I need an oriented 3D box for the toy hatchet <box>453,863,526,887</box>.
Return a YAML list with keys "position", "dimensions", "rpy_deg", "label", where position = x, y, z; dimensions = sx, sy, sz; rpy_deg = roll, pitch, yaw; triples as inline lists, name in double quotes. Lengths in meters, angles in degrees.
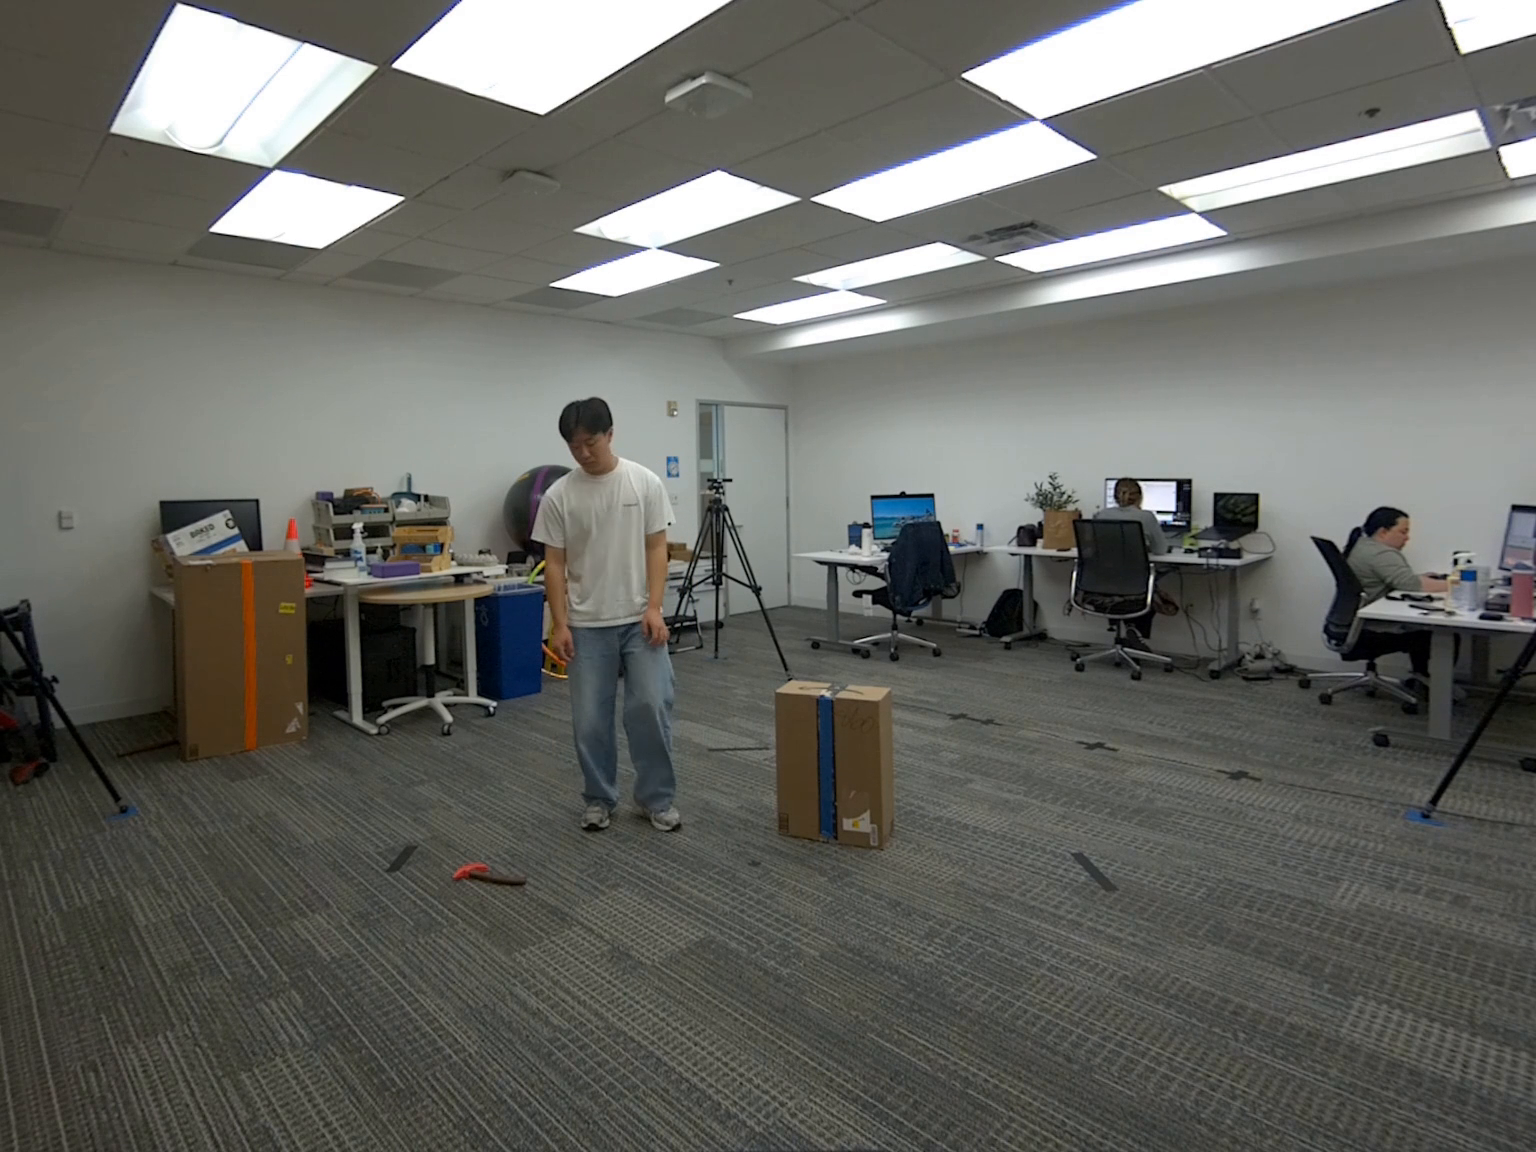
- position: [-0.968, 1.057, 3.045]
  dimensions: [0.273, 0.029, 0.130]
  rpy_deg: [2, 3, 9]
  label: "toy hatchet"
